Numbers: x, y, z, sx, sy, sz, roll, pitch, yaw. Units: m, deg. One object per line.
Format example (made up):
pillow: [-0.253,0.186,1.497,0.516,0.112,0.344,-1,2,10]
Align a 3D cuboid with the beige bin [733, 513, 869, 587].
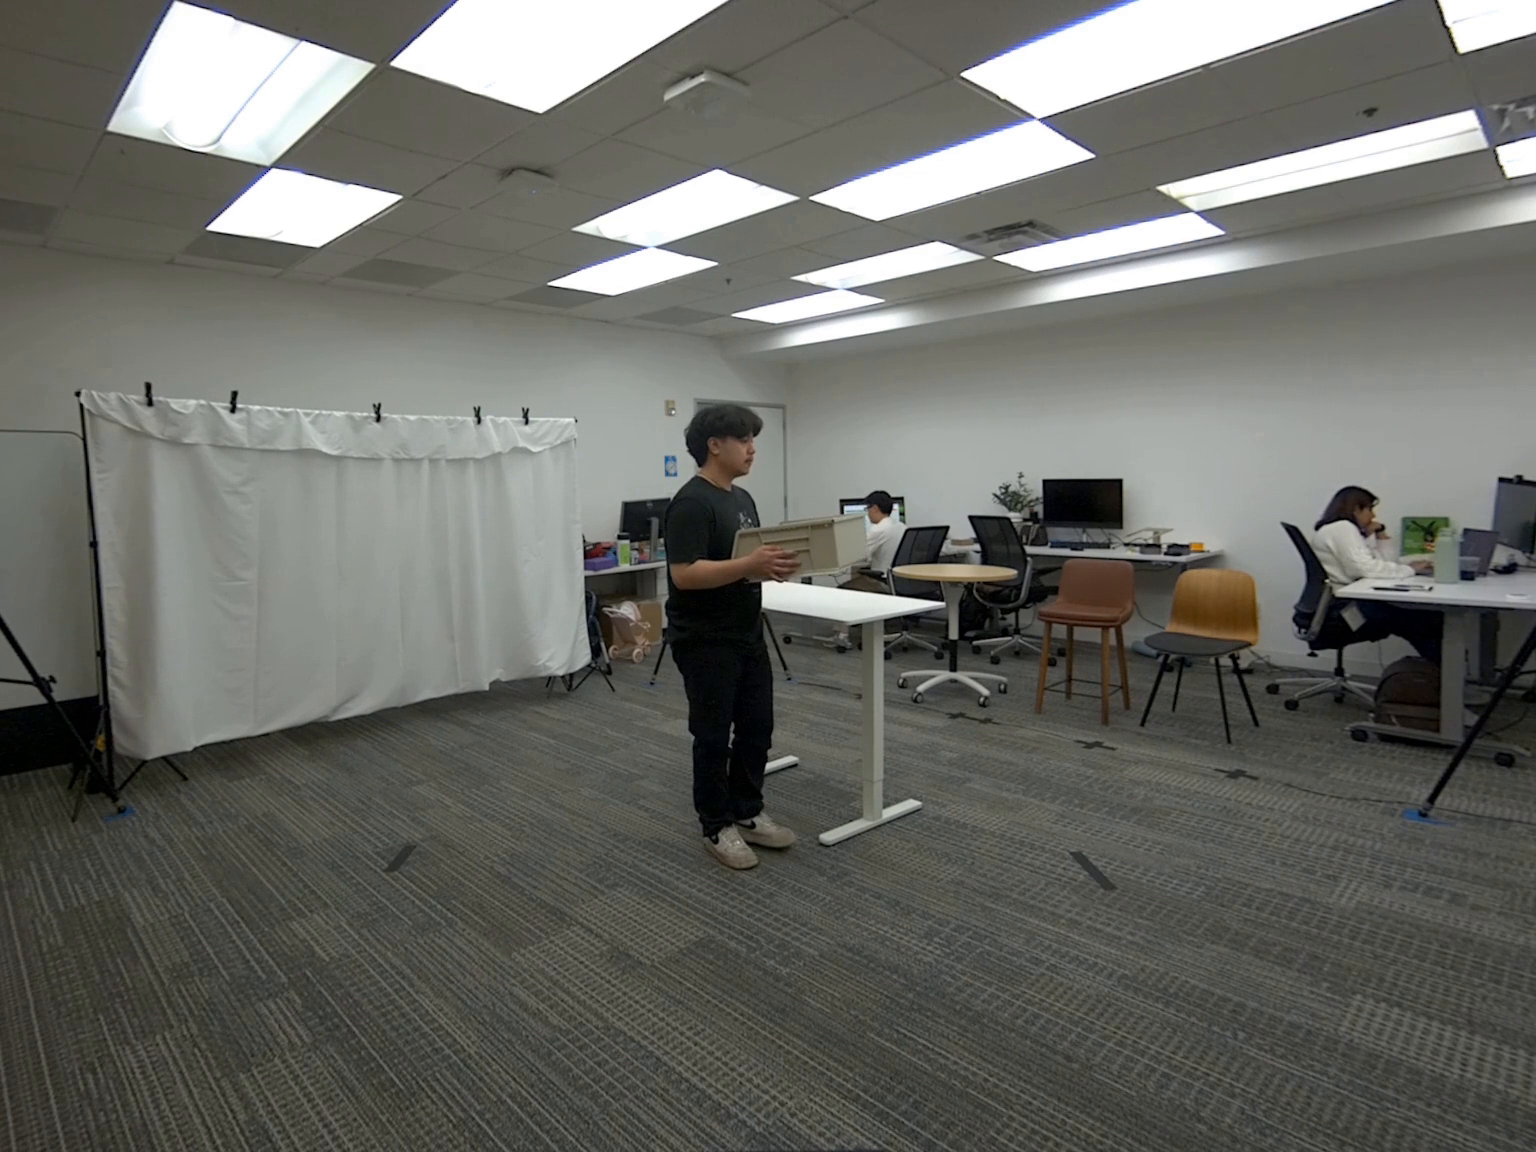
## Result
beige bin: [0.123,-0.100,2.996,0.385,0.188,0.415,-5,5,23]
